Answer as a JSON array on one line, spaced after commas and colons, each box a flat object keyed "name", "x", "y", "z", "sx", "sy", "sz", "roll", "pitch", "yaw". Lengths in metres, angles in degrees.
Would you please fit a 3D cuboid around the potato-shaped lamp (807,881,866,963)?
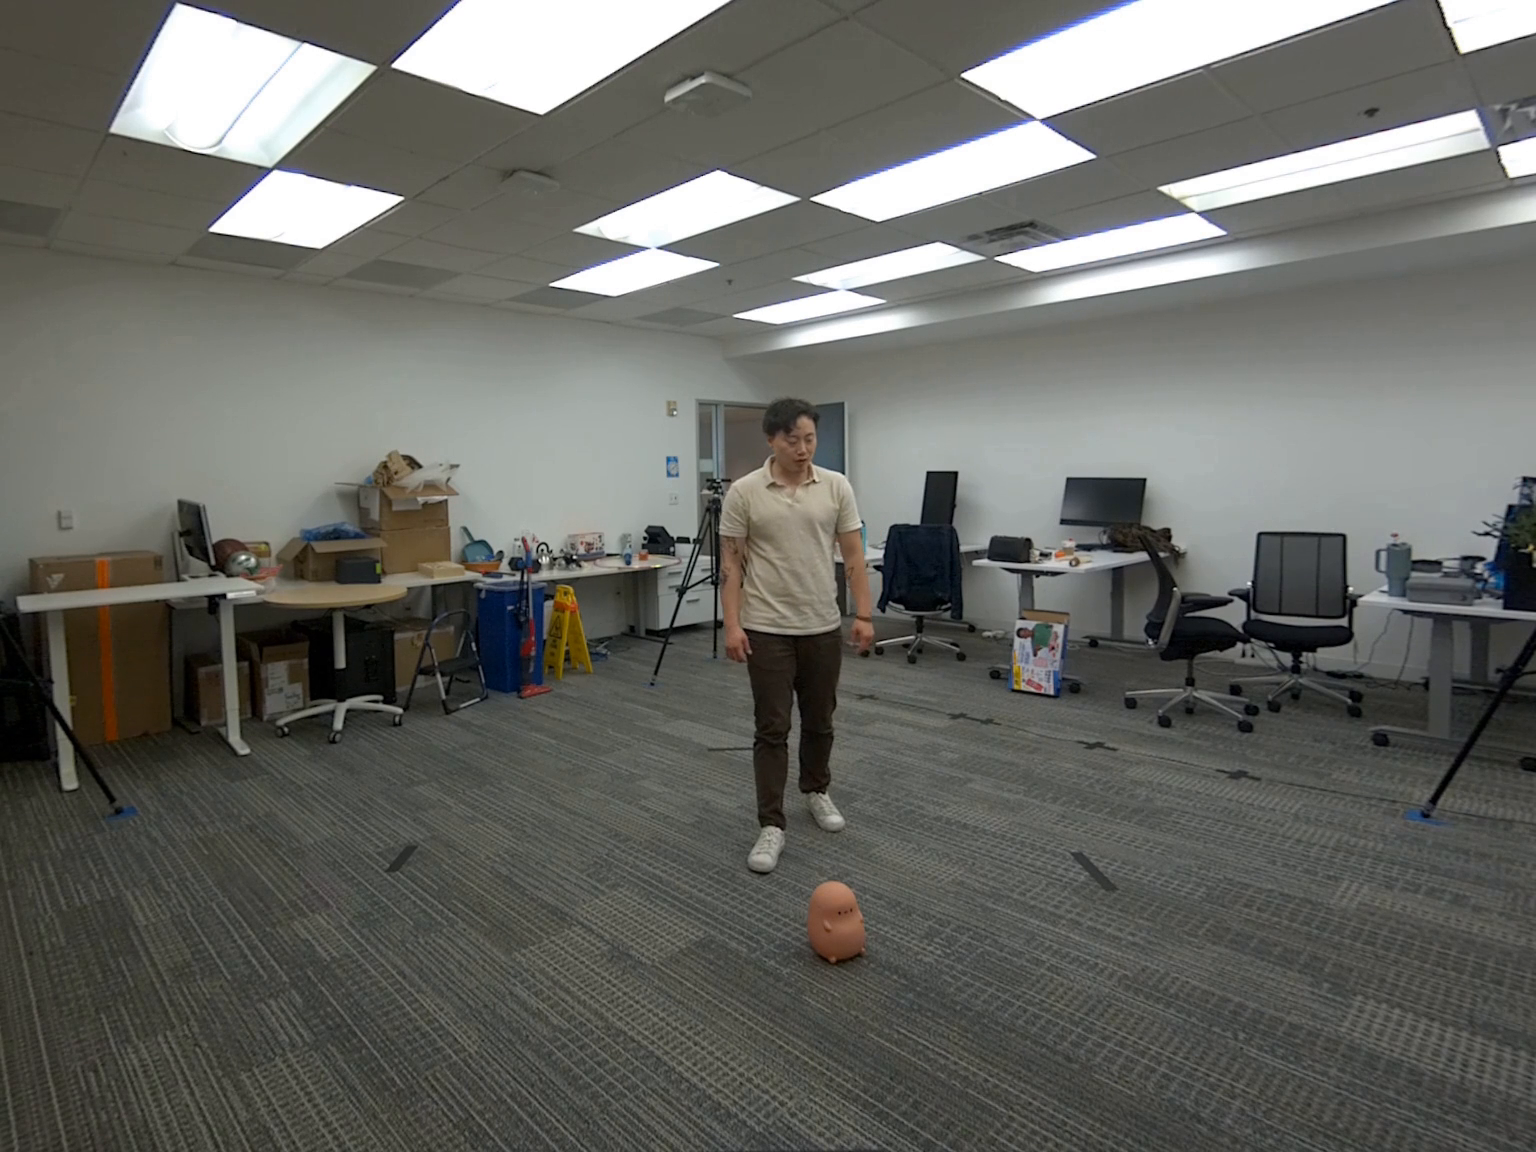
[{"name": "potato-shaped lamp", "x": 0.211, "y": 1.014, "z": 2.515, "sx": 0.161, "sy": 0.197, "sz": 0.176, "roll": -5, "pitch": 8, "yaw": -25}]
